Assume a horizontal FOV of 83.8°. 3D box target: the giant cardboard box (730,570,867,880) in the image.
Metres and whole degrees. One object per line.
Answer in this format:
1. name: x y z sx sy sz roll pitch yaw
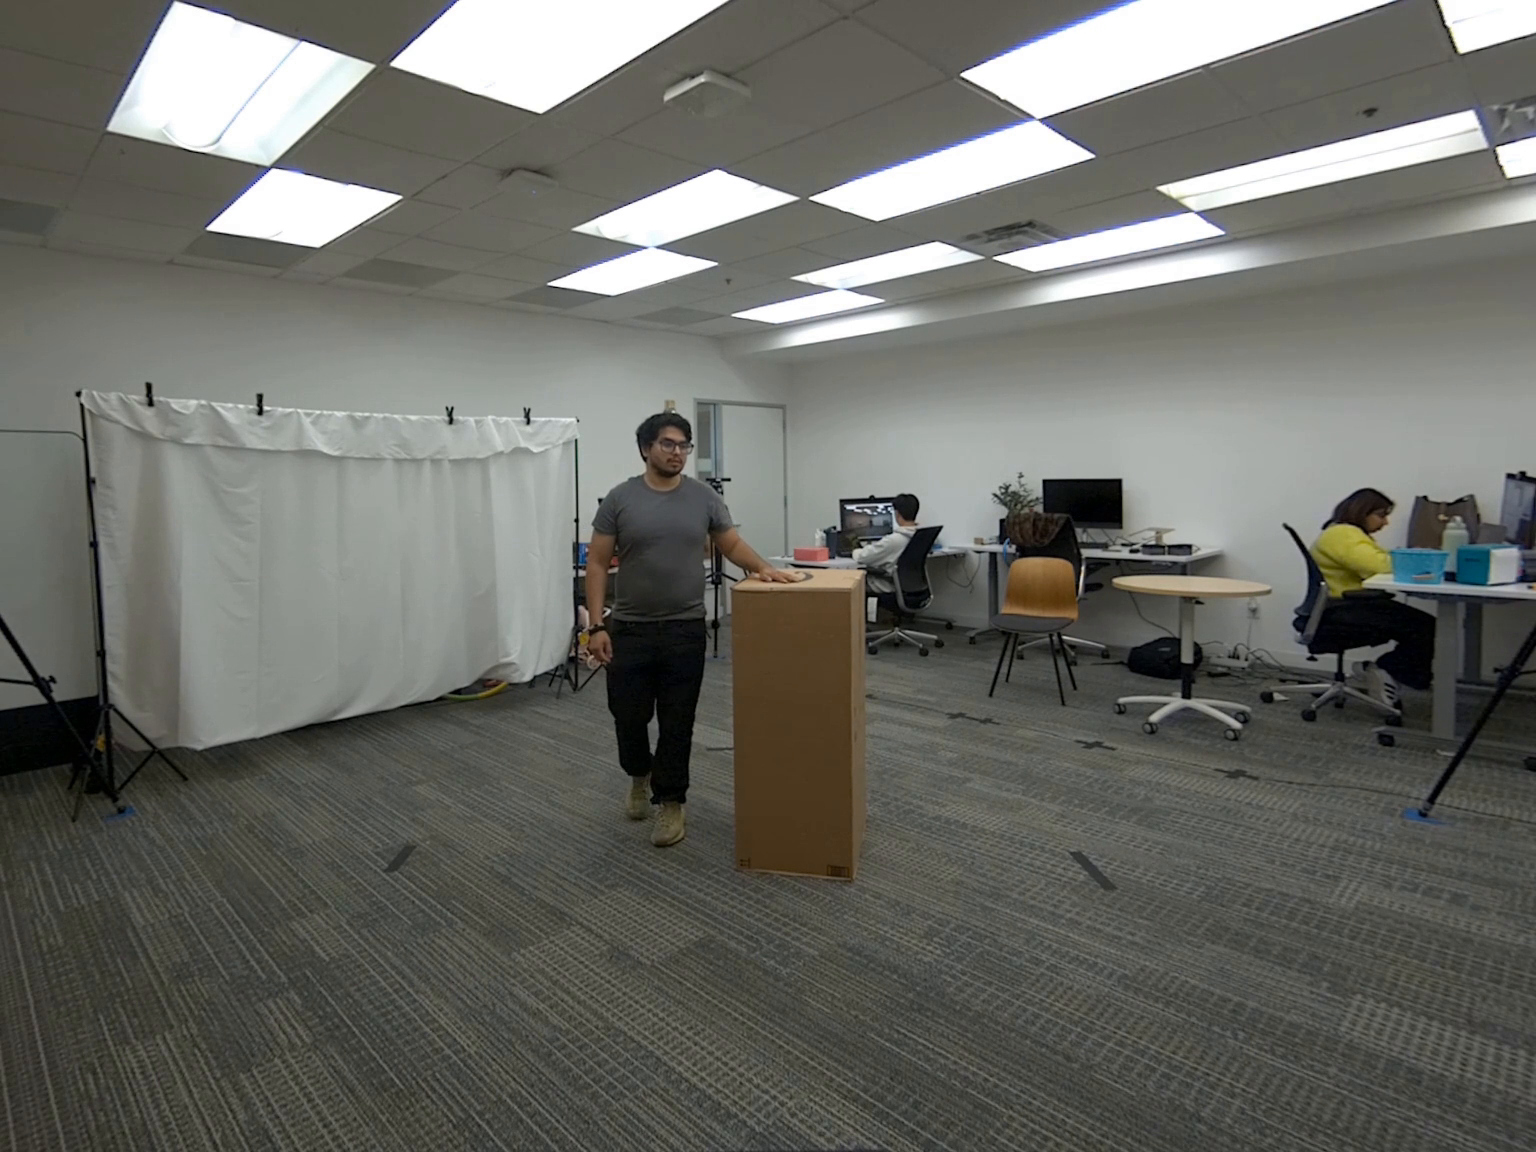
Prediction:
1. giant cardboard box: 0.132 0.512 3.235 0.432 1.021 0.573 0 5 12
